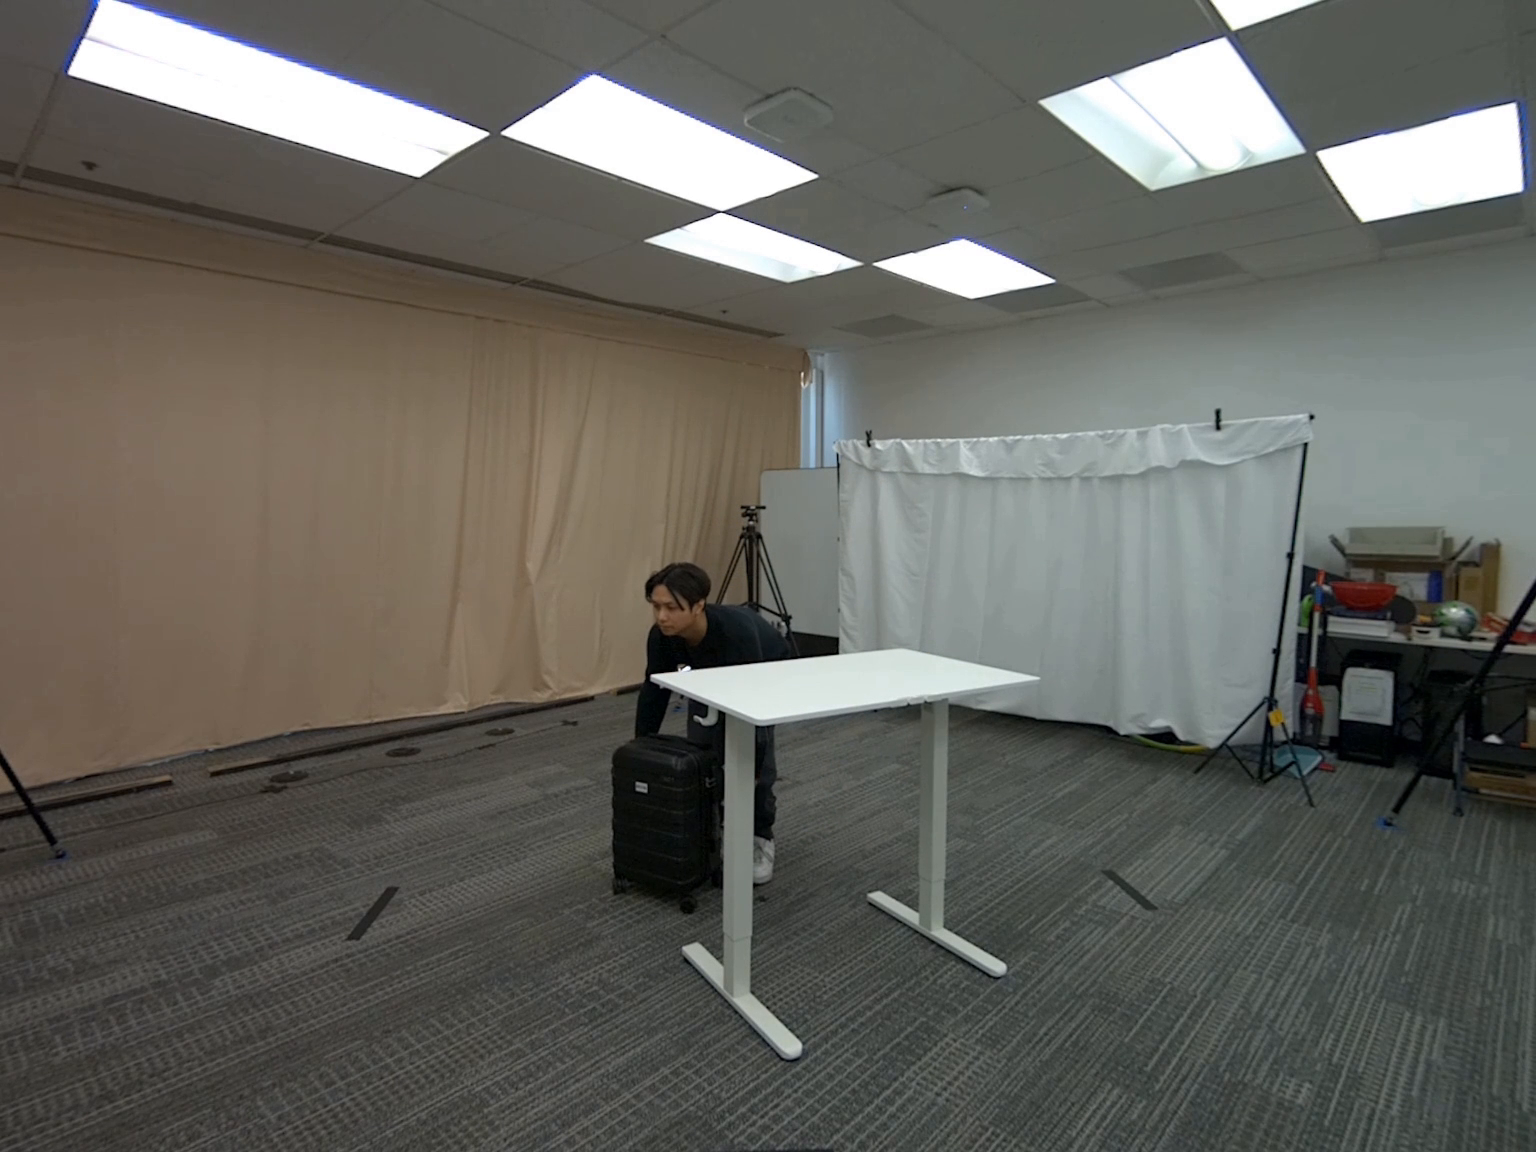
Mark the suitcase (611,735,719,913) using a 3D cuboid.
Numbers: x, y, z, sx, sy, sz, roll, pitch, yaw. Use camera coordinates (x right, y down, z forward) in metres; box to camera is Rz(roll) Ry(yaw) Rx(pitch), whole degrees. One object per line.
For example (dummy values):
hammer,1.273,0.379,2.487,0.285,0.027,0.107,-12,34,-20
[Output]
suitcase,-0.372,0.864,3.049,0.386,0.548,0.241,1,2,31
